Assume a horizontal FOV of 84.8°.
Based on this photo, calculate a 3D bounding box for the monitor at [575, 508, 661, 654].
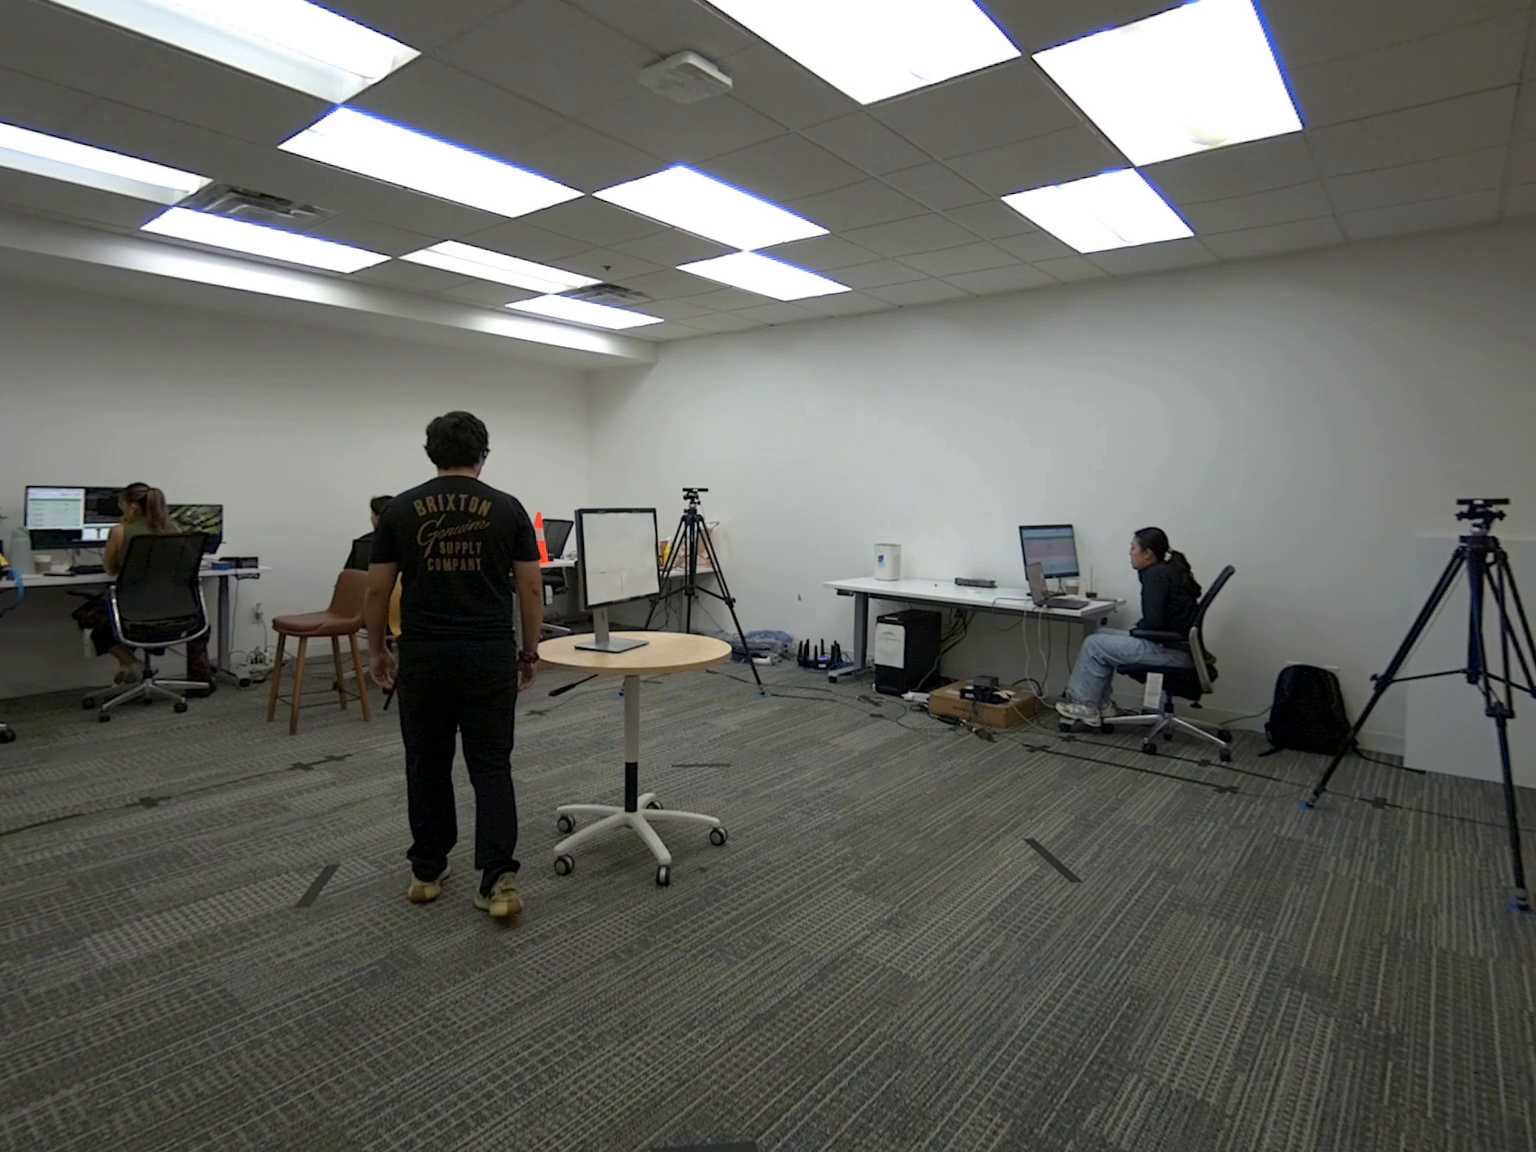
[{"bbox_3d":[-0.635,0.006,3.297,0.215,0.553,0.553,-1,3,23],"label":"monitor"}]
